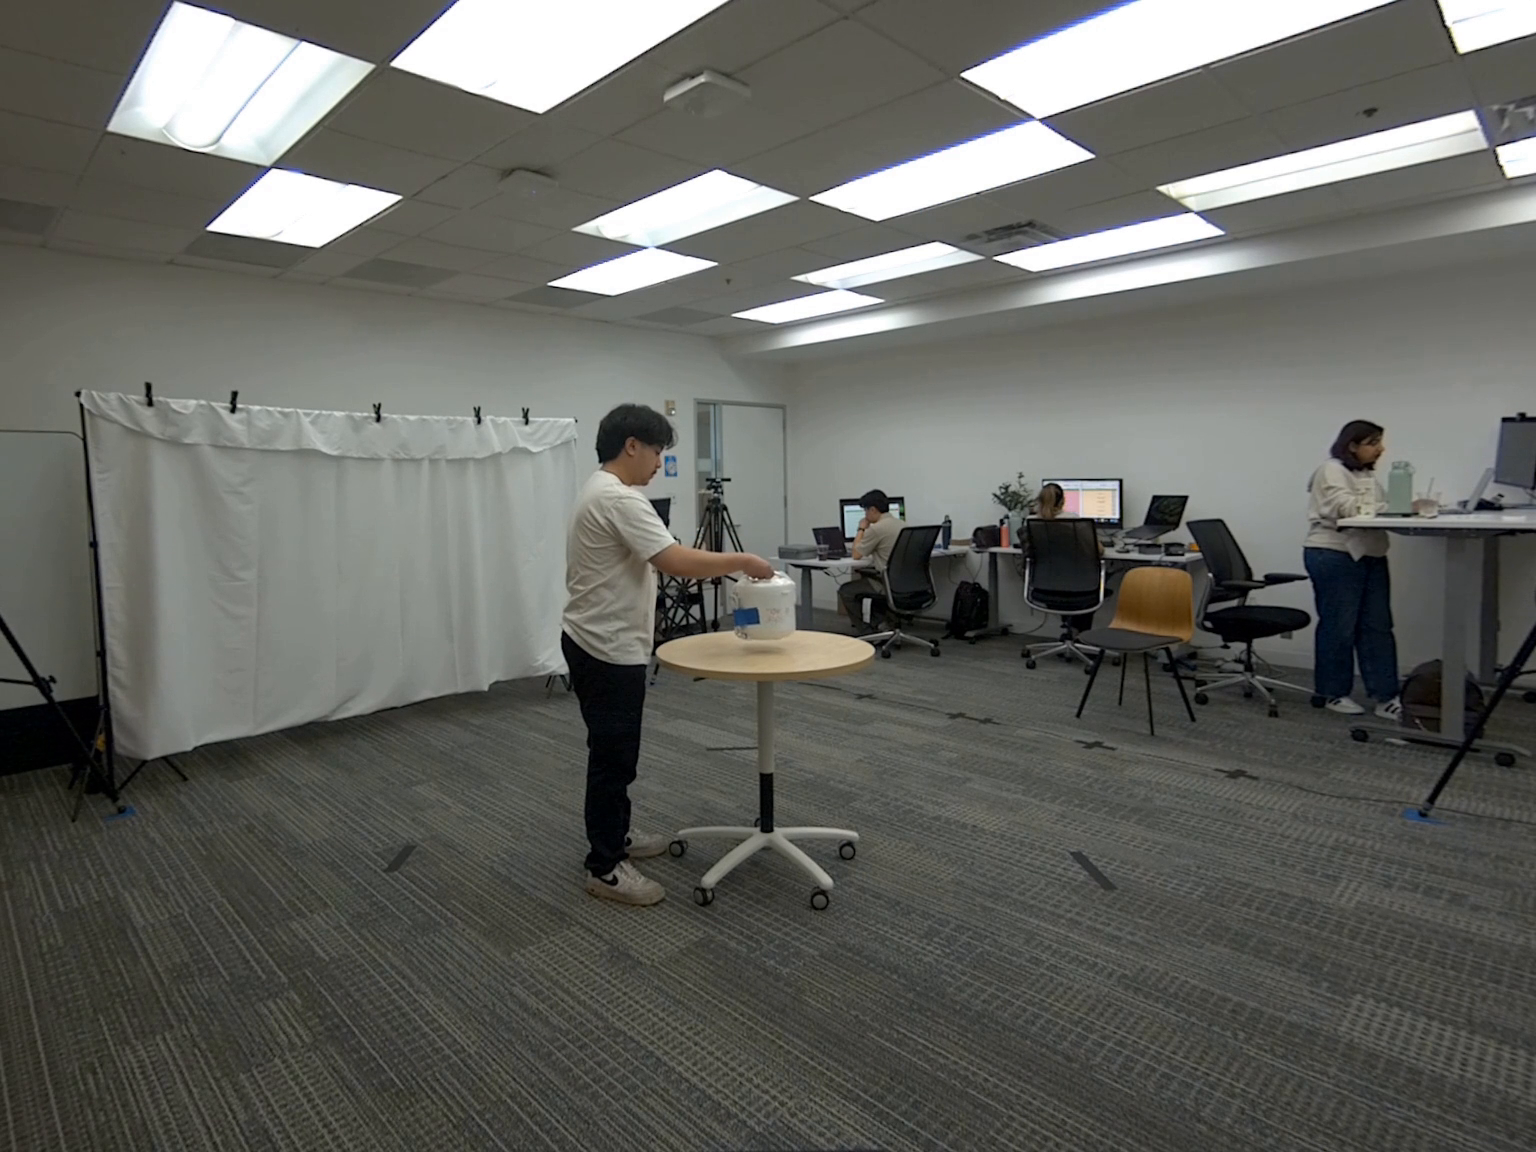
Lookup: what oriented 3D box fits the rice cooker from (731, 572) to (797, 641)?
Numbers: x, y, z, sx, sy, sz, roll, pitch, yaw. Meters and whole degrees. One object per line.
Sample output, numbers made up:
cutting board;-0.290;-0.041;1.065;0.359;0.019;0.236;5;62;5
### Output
rice cooker;-0.012;0.095;2.969;0.223;0.231;0.216;-1;6;12
